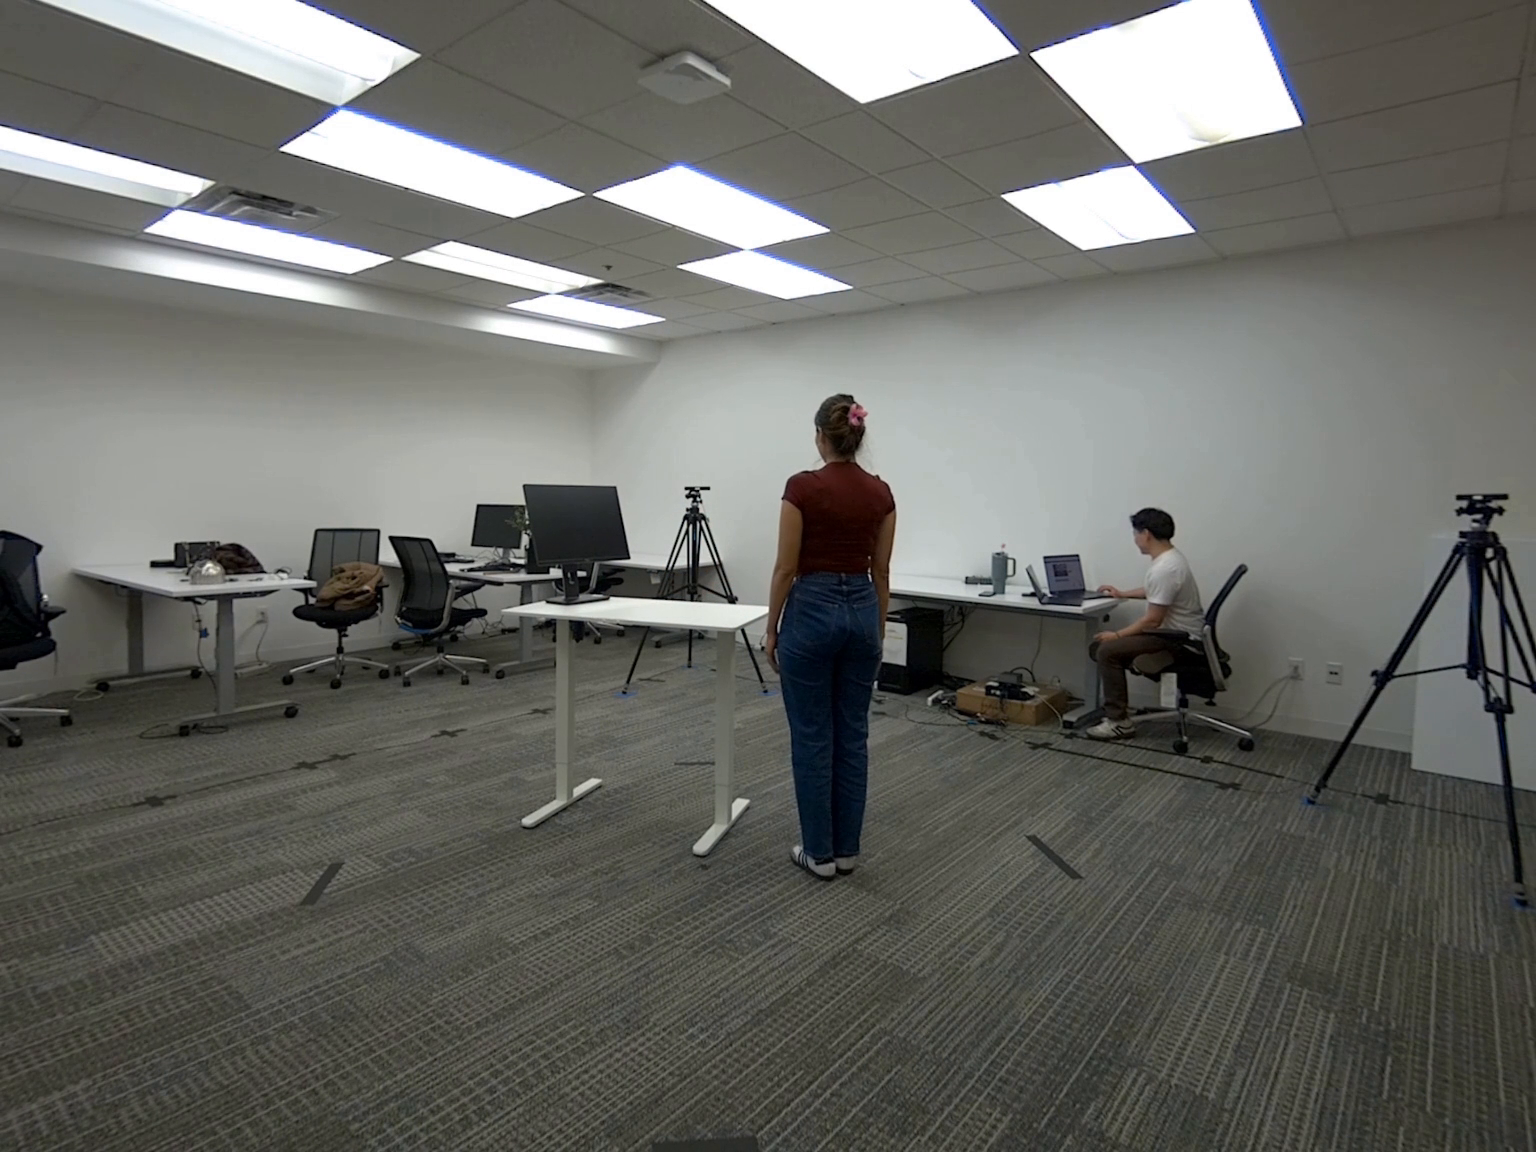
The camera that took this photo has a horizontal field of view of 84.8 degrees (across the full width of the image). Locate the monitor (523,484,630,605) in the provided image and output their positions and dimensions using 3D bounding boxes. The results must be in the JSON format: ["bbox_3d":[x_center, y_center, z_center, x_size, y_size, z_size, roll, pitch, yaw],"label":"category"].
[{"bbox_3d":[-0.876,-0.143,3.777,0.193,0.522,0.524,0,2,35],"label":"monitor"}]
